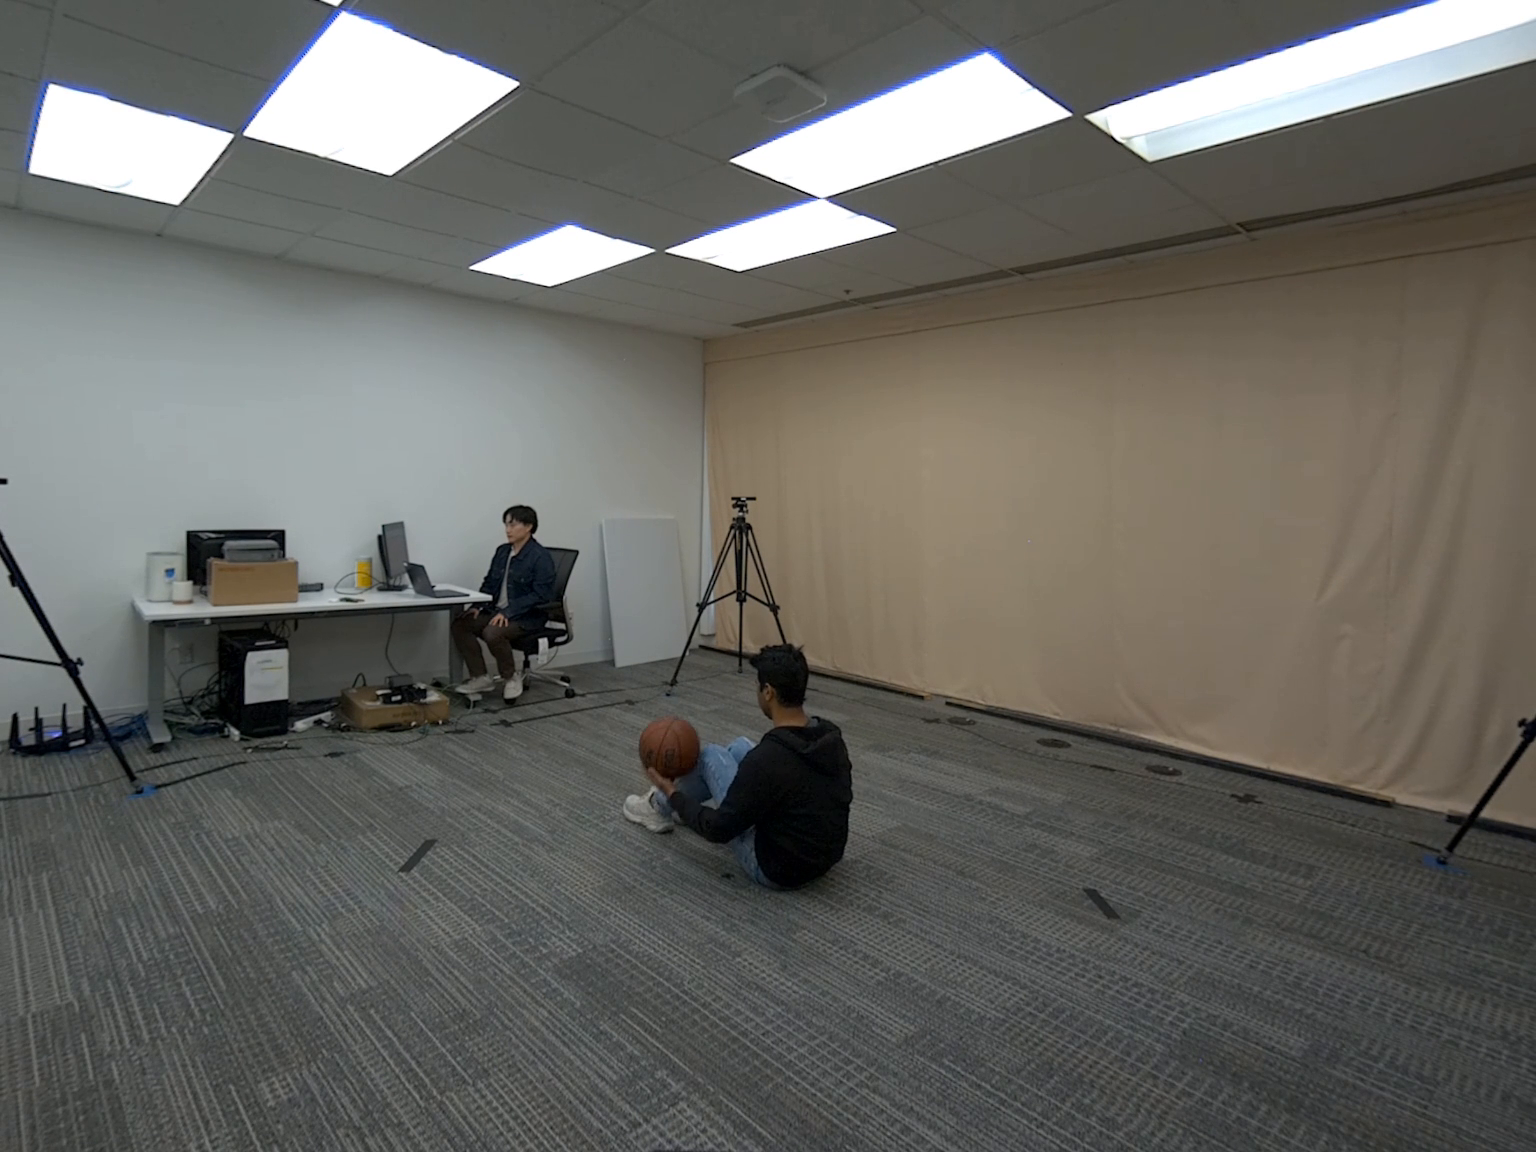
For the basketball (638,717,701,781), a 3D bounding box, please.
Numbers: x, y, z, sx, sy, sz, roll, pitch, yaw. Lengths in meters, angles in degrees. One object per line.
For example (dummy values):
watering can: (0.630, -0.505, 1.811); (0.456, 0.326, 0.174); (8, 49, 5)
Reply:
basketball: (-0.356, 0.670, 3.259); (0.236, 0.235, 0.237); (1, 4, -1)
